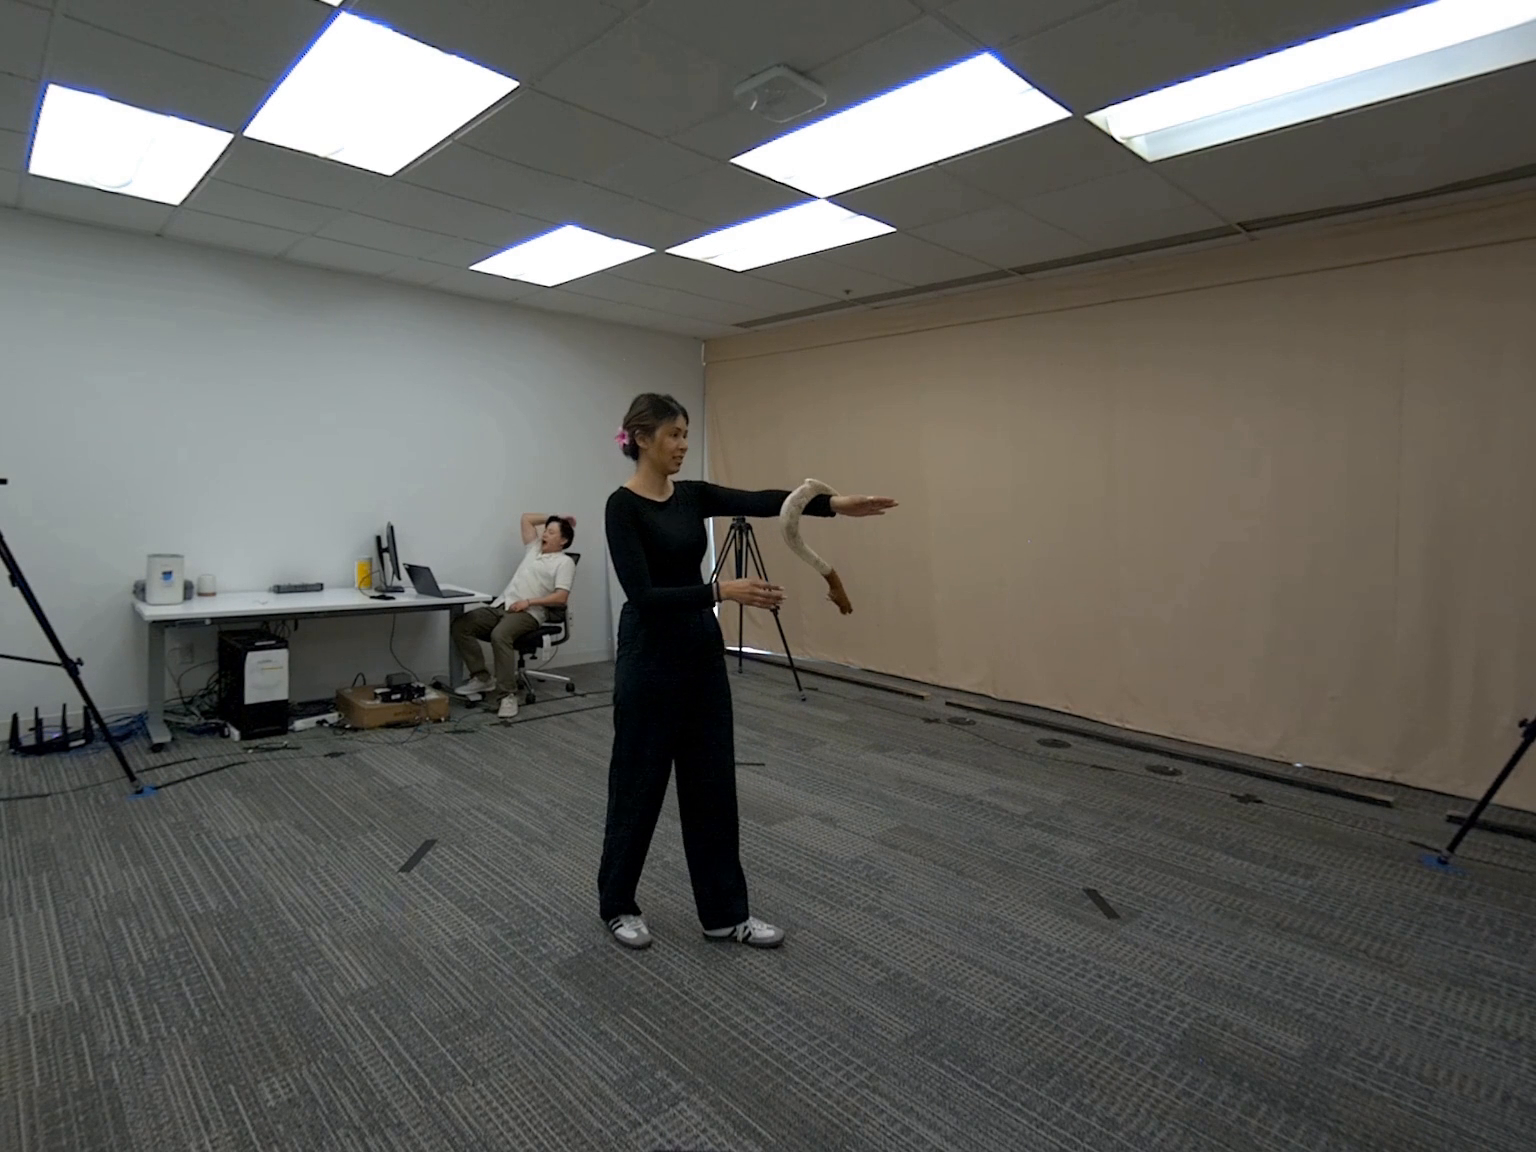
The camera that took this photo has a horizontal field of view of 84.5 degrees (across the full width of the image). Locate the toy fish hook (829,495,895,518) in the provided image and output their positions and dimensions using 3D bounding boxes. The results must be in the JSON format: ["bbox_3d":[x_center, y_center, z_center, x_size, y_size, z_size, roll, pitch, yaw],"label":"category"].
[{"bbox_3d":[0.184,-0.082,2.548,0.224,0.491,0.050,-41,39,-12],"label":"toy fish hook"}]
